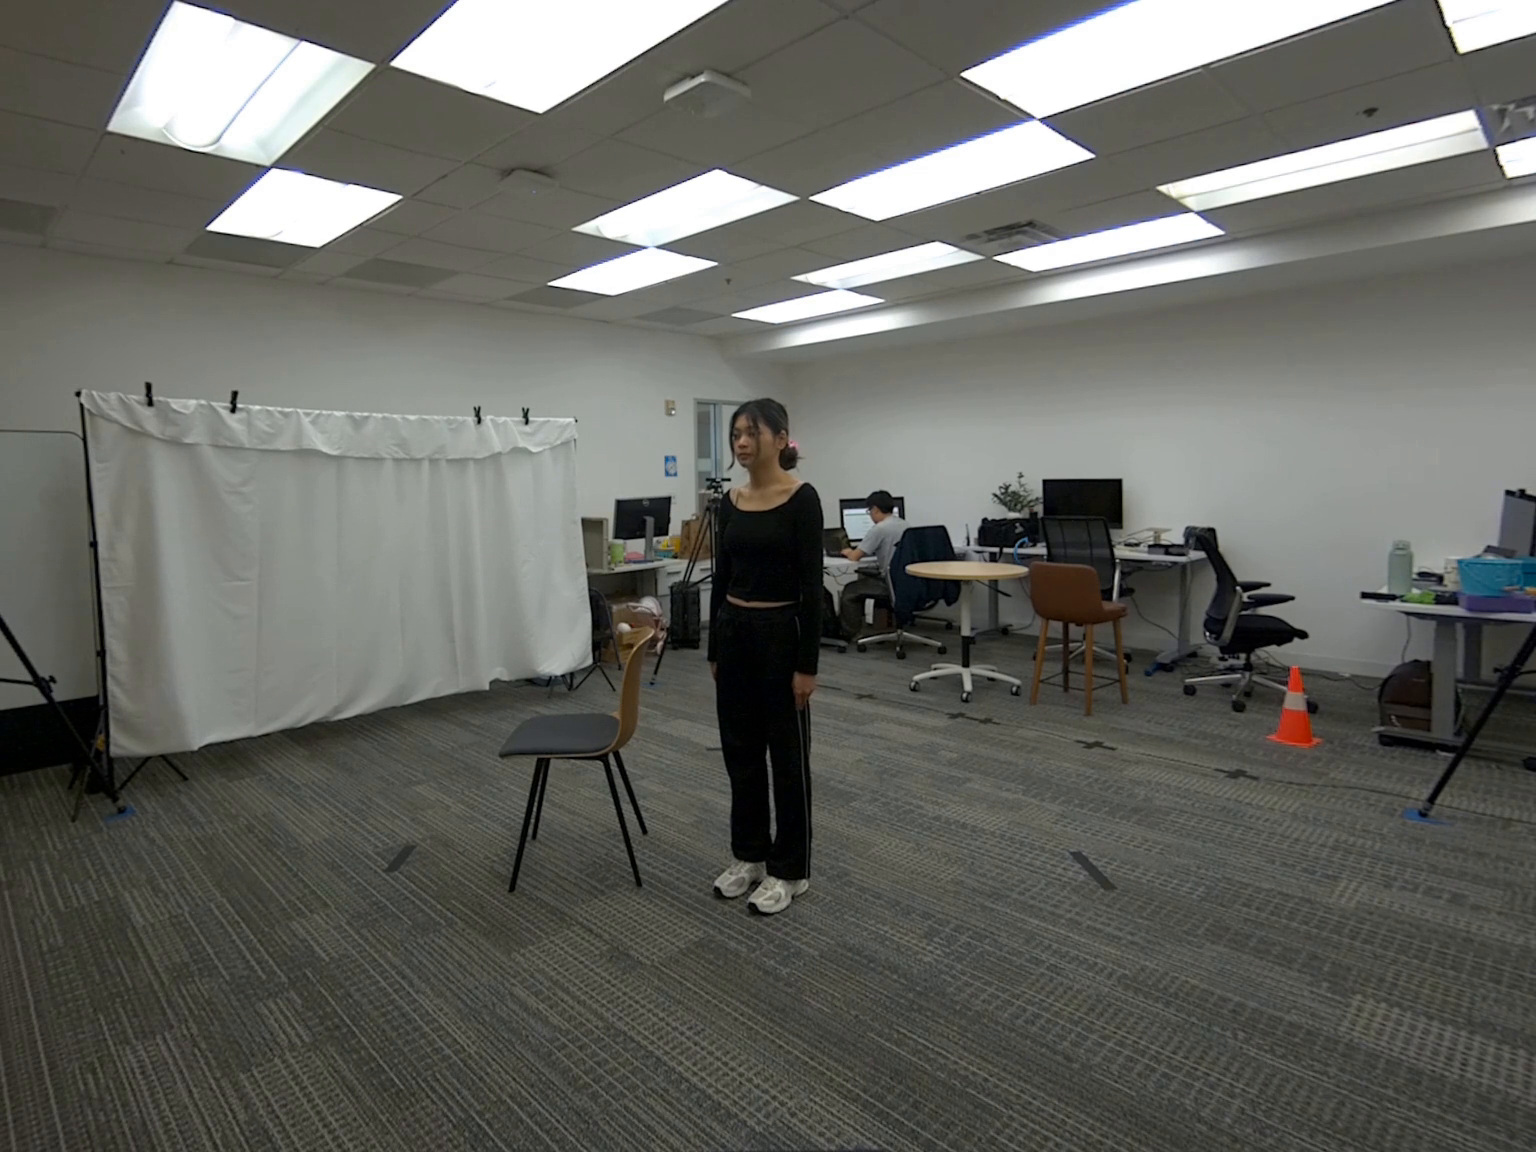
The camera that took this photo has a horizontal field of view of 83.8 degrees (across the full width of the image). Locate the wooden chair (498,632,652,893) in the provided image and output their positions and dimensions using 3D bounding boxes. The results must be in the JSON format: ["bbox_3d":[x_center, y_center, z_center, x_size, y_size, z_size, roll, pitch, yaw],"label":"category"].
[{"bbox_3d":[-0.695,0.628,3.110,0.521,0.874,0.482,2,5,-4],"label":"wooden chair"}]
